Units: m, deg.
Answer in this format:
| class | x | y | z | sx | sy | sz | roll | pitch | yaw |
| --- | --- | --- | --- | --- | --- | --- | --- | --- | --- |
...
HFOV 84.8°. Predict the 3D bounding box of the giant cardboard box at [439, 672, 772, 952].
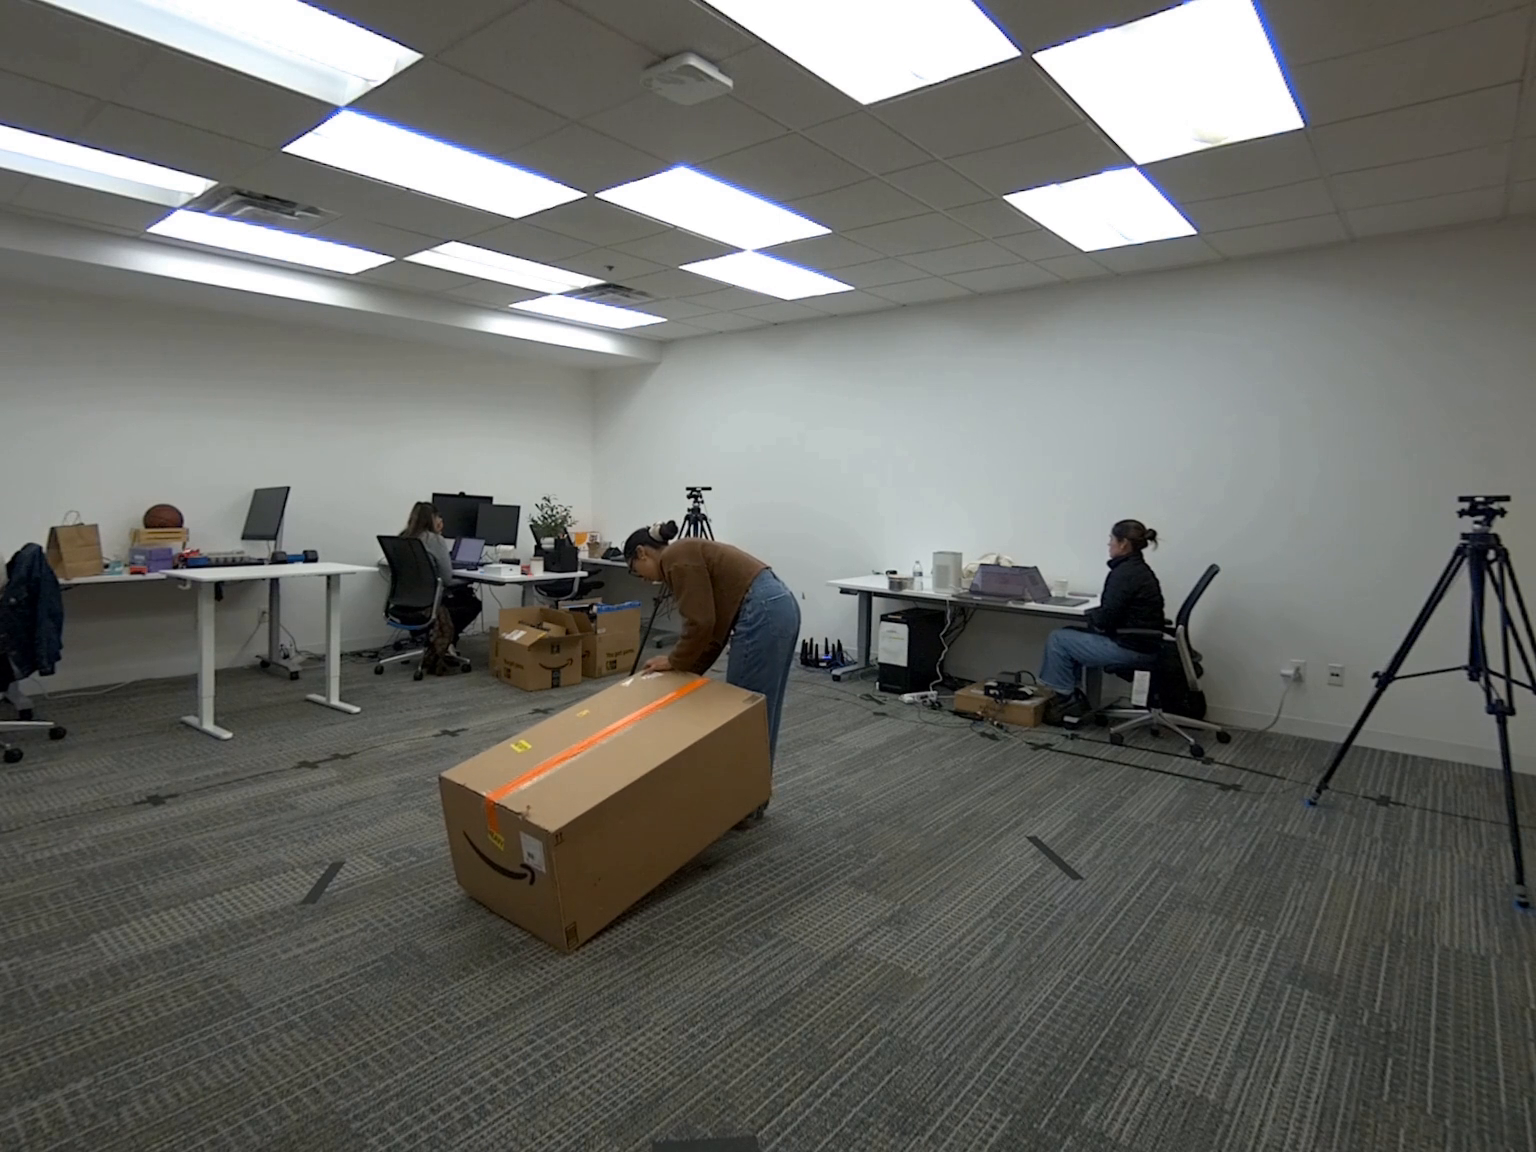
| class | x | y | z | sx | sy | sz | roll | pitch | yaw |
| --- | --- | --- | --- | --- | --- | --- | --- | --- | --- |
| giant cardboard box | -0.544 | 0.745 | 3.000 | 0.605 | 0.439 | 1.008 | 10 | 22 | 37 |
